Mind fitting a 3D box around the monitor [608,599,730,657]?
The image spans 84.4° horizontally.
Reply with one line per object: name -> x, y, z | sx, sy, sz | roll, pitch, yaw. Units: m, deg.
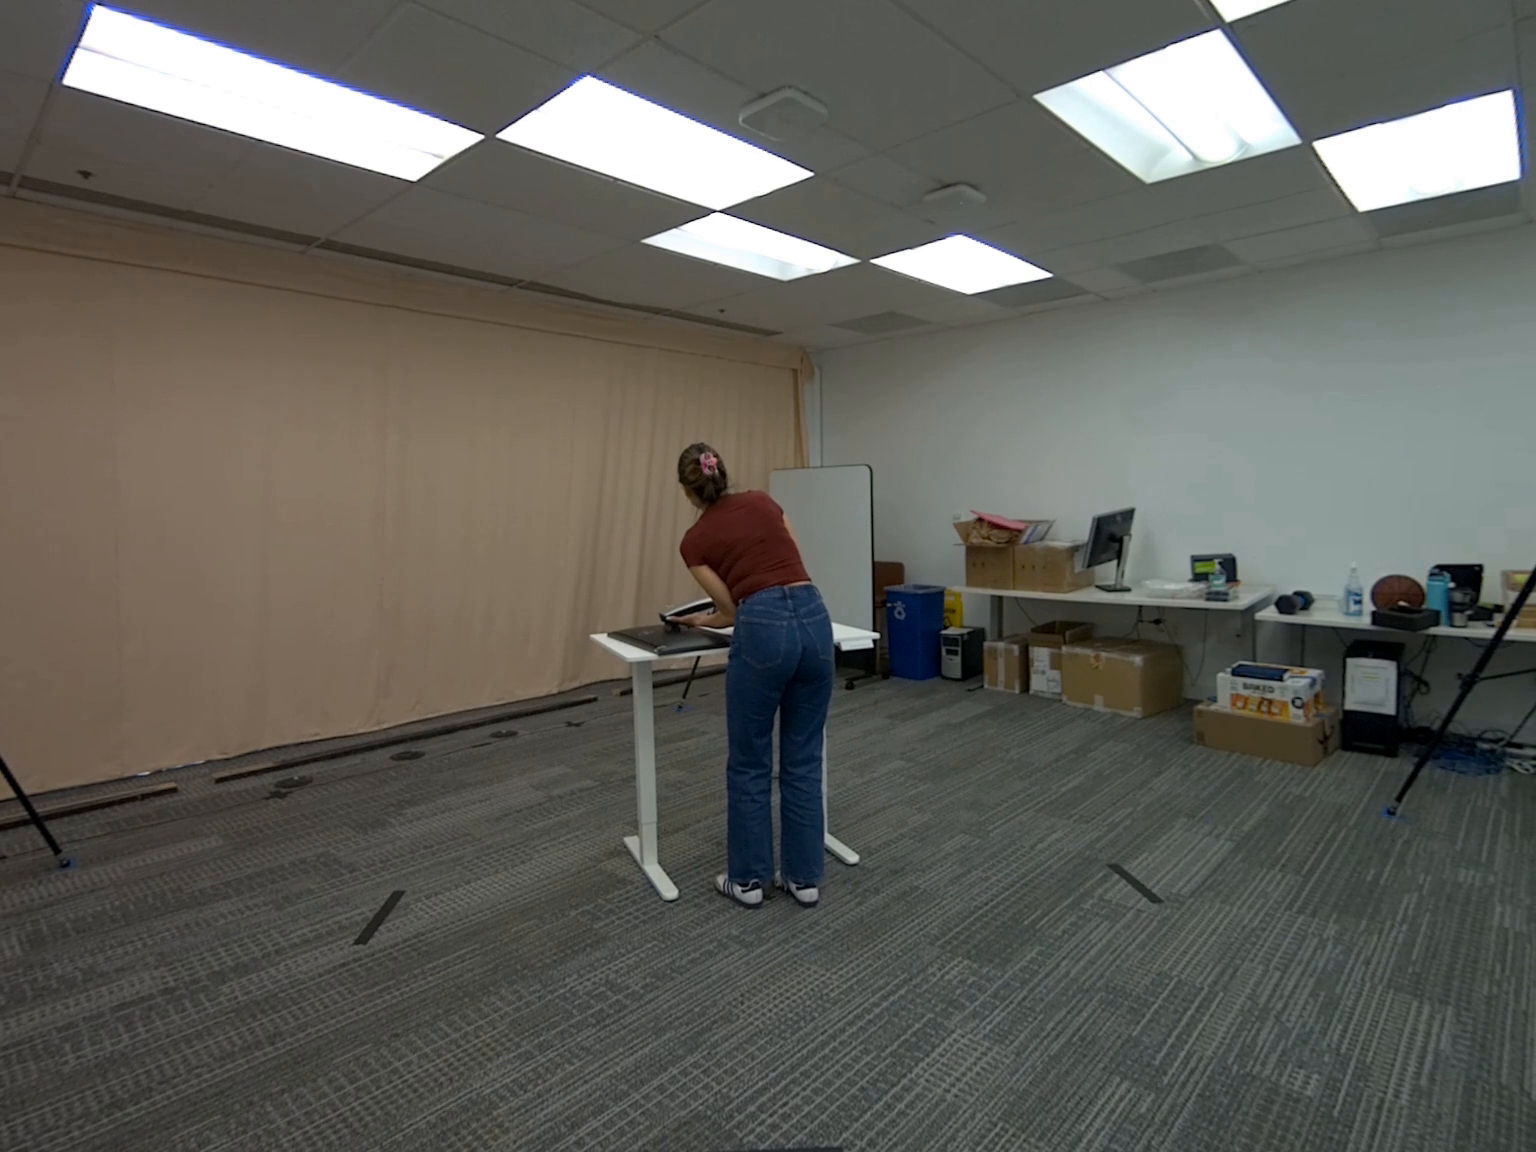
monitor -> -0.300, 0.180, 3.244 | 0.513, 0.185, 0.554 | -23, 14, -25
